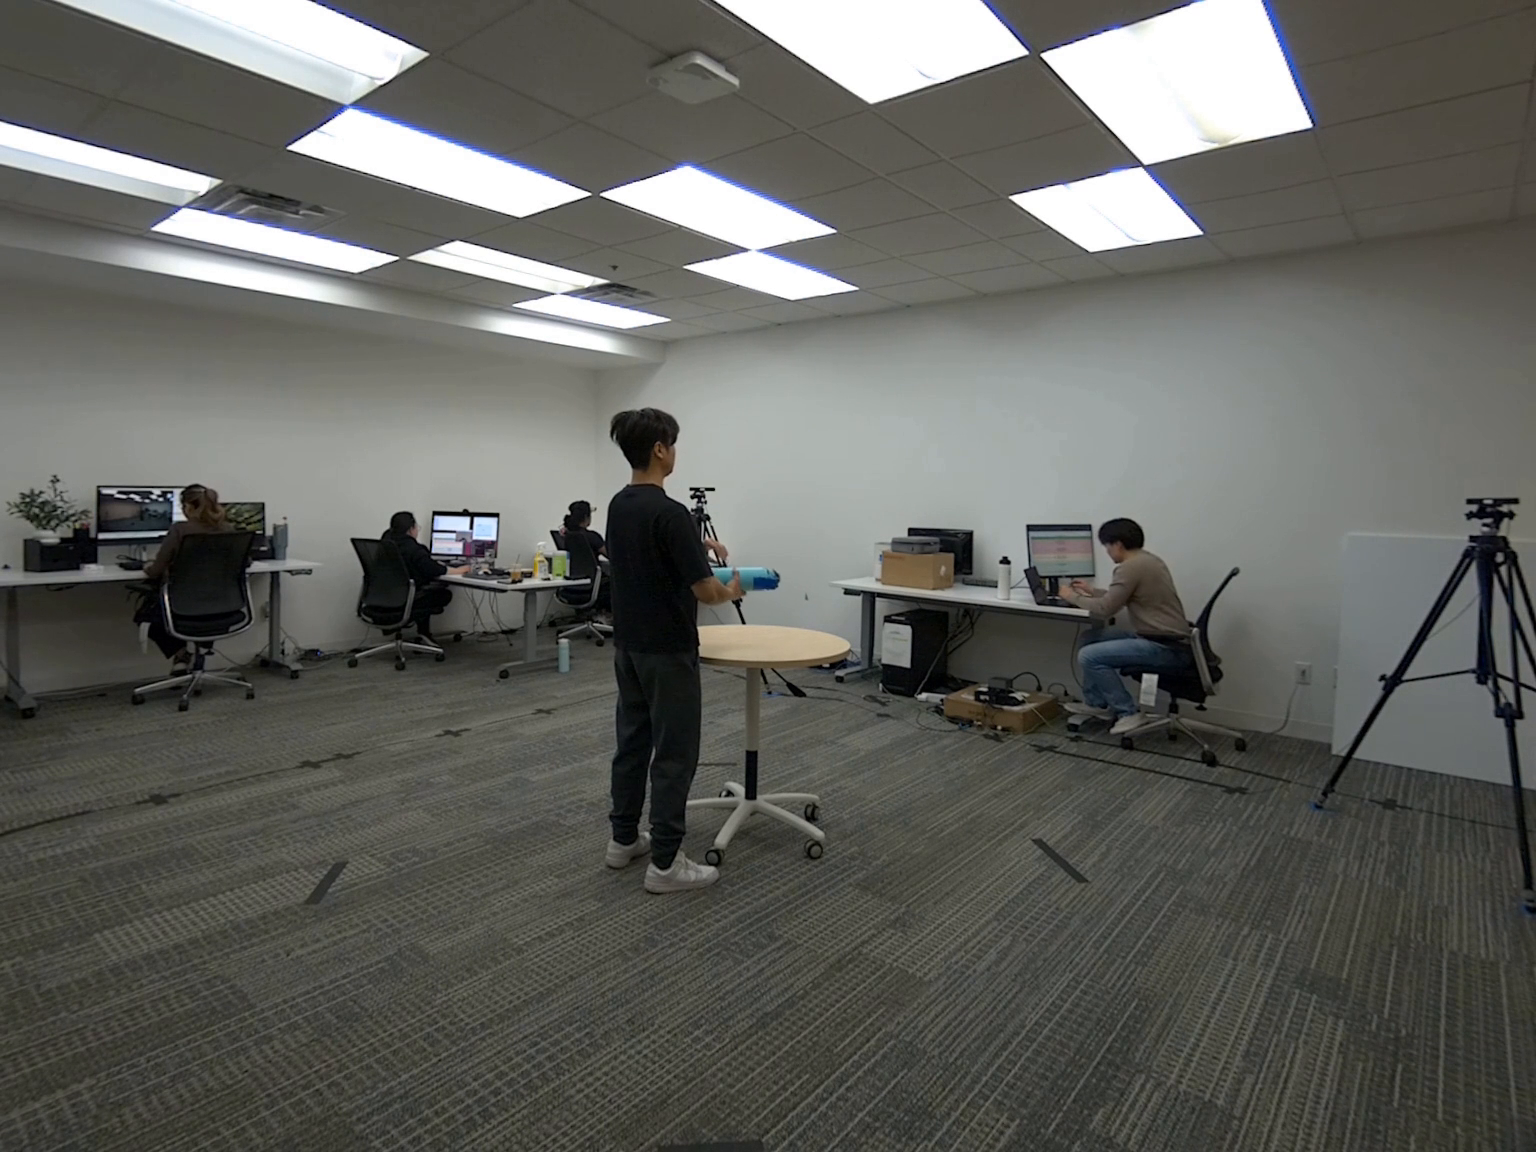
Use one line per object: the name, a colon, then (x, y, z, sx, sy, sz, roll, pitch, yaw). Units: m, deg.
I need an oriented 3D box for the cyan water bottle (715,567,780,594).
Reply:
cyan water bottle: (-0.101, 0.011, 3.166, 0.281, 0.092, 0.093, 0, 4, -9)
